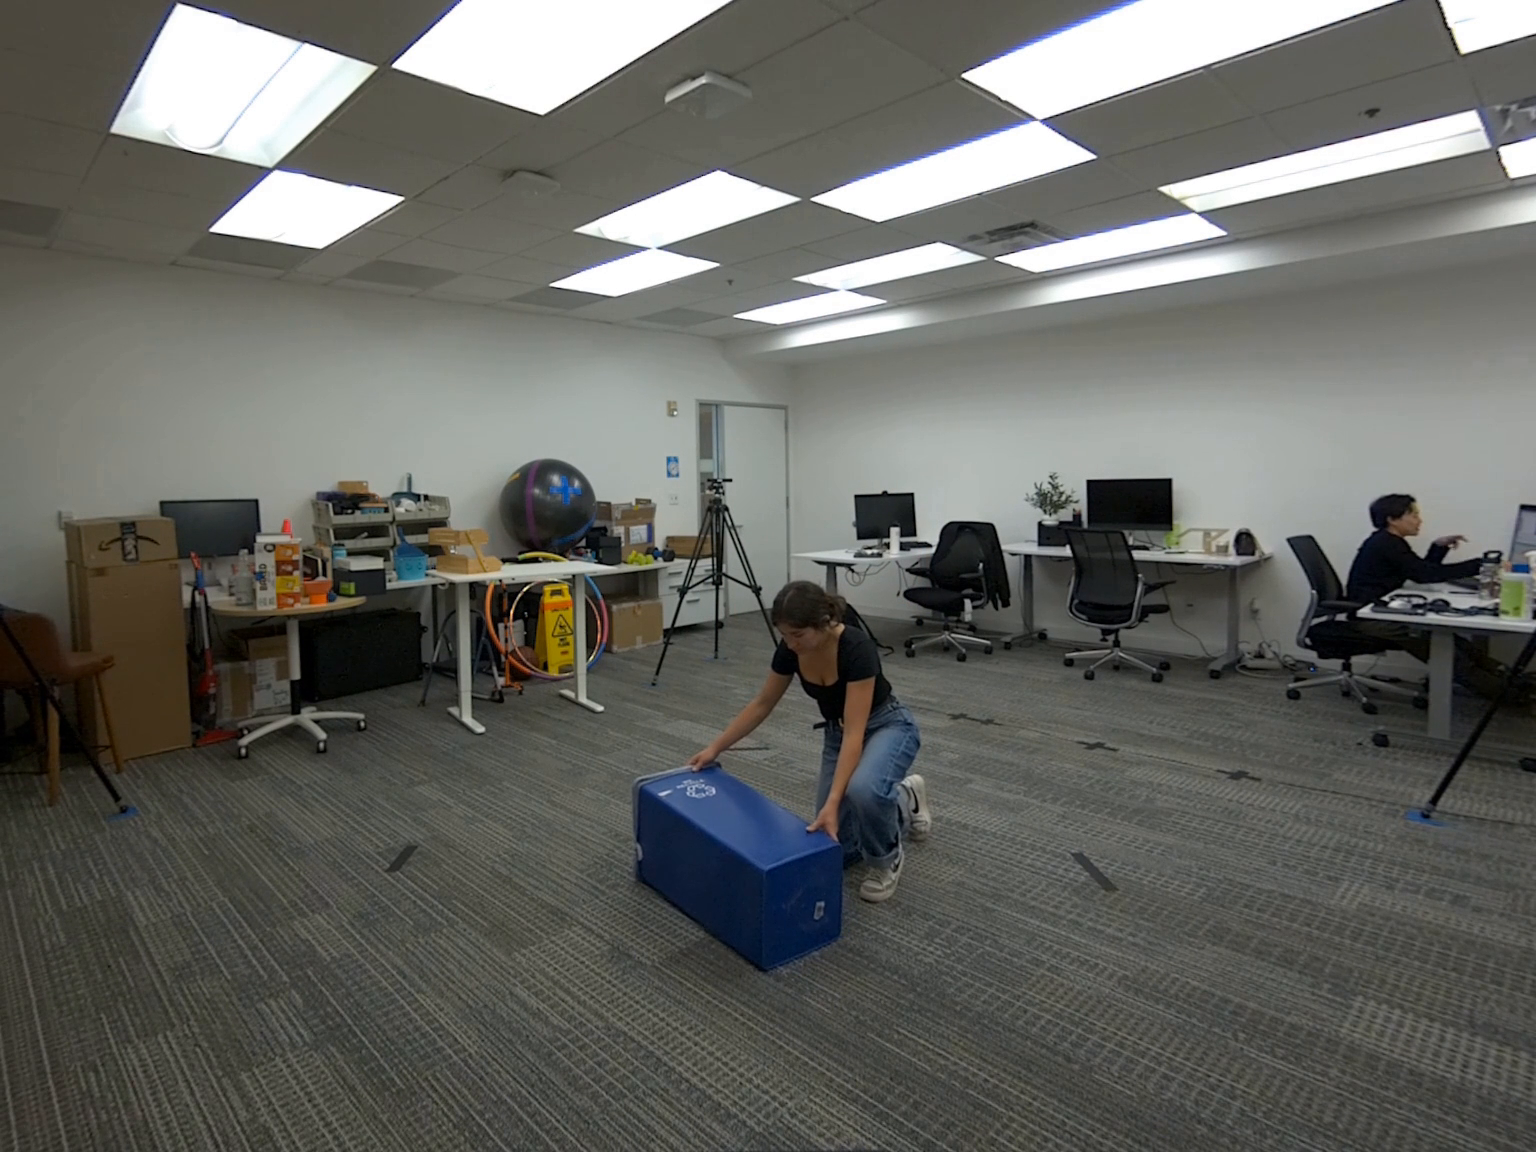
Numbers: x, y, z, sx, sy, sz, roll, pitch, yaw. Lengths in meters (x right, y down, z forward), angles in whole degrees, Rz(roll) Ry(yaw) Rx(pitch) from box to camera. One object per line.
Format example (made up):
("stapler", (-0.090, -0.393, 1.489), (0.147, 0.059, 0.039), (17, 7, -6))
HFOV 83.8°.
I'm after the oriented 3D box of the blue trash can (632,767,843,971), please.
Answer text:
("blue trash can", (-0.106, 0.920, 2.775), (0.364, 0.375, 0.737), (-4, 10, -36))
